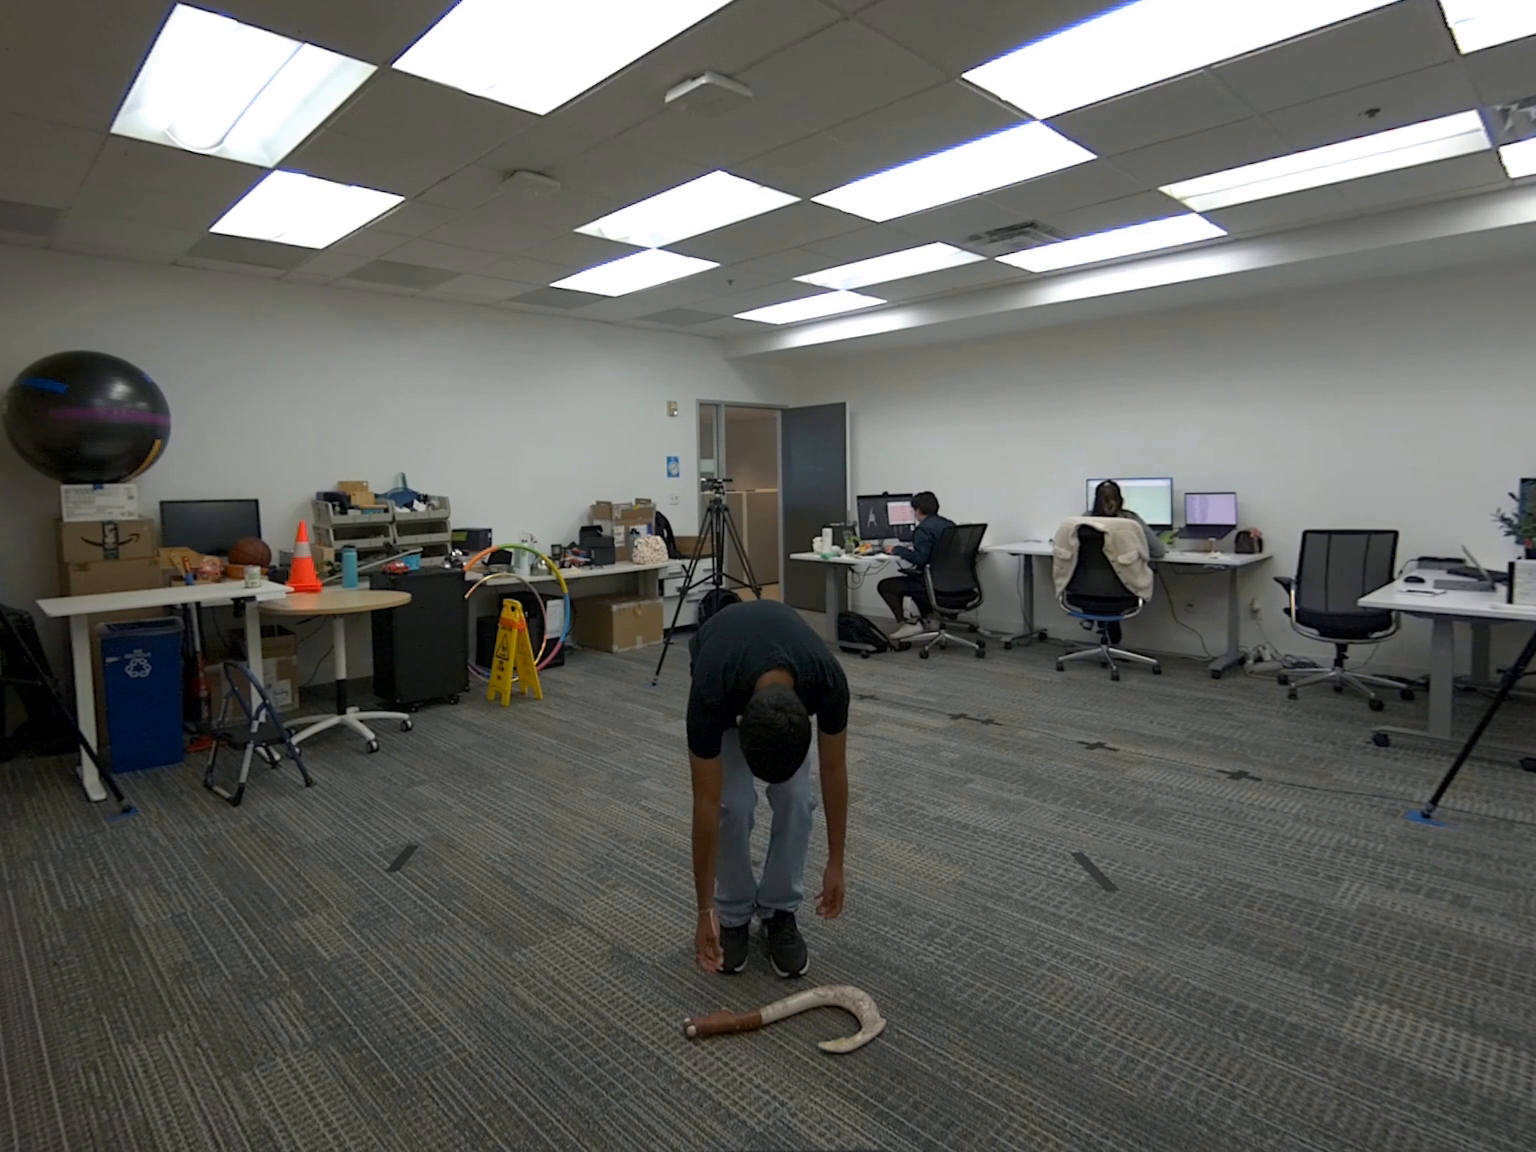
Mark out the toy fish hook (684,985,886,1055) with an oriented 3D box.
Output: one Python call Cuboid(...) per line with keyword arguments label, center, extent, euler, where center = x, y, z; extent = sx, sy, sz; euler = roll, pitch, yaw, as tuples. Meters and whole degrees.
Cuboid(label="toy fish hook", center=(0.050, 1.134, 2.150), extent=(0.500, 0.048, 0.228), euler=(-4, 6, -14))
